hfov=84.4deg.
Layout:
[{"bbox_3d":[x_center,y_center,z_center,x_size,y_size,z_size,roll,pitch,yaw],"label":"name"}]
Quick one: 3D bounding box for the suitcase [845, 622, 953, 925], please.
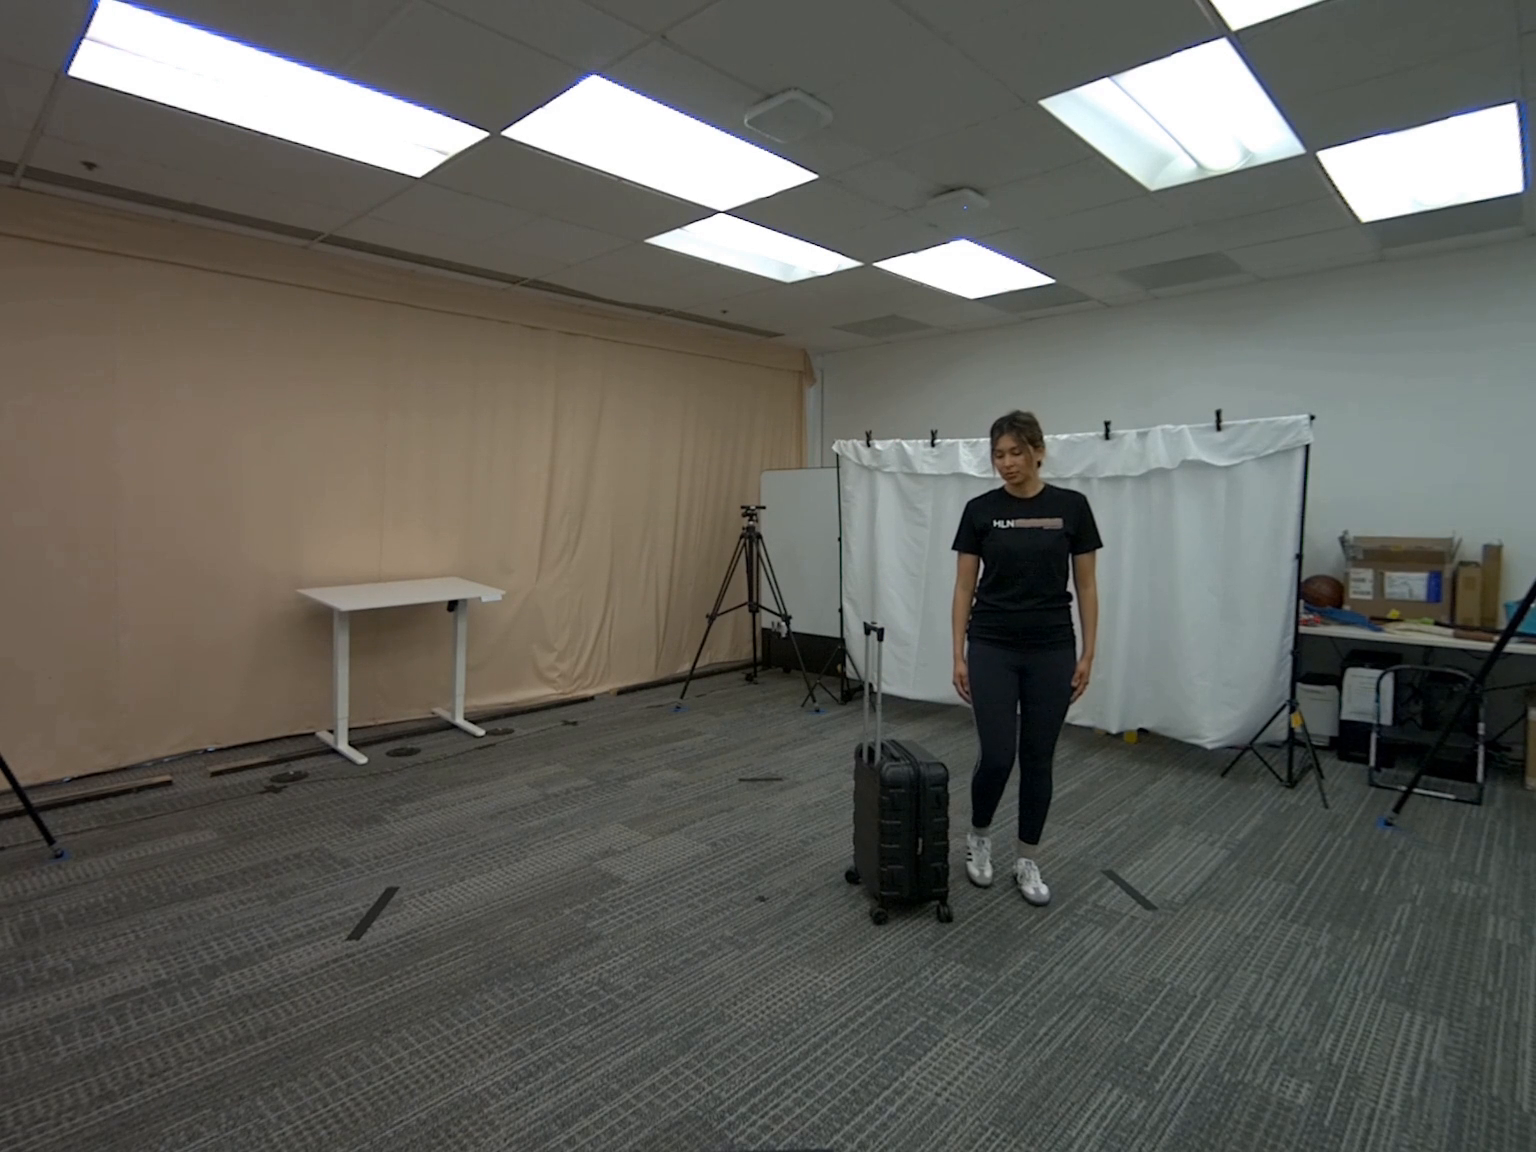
[{"bbox_3d":[0.475,0.668,2.945,0.255,0.977,0.388,1,3,-8],"label":"suitcase"}]
